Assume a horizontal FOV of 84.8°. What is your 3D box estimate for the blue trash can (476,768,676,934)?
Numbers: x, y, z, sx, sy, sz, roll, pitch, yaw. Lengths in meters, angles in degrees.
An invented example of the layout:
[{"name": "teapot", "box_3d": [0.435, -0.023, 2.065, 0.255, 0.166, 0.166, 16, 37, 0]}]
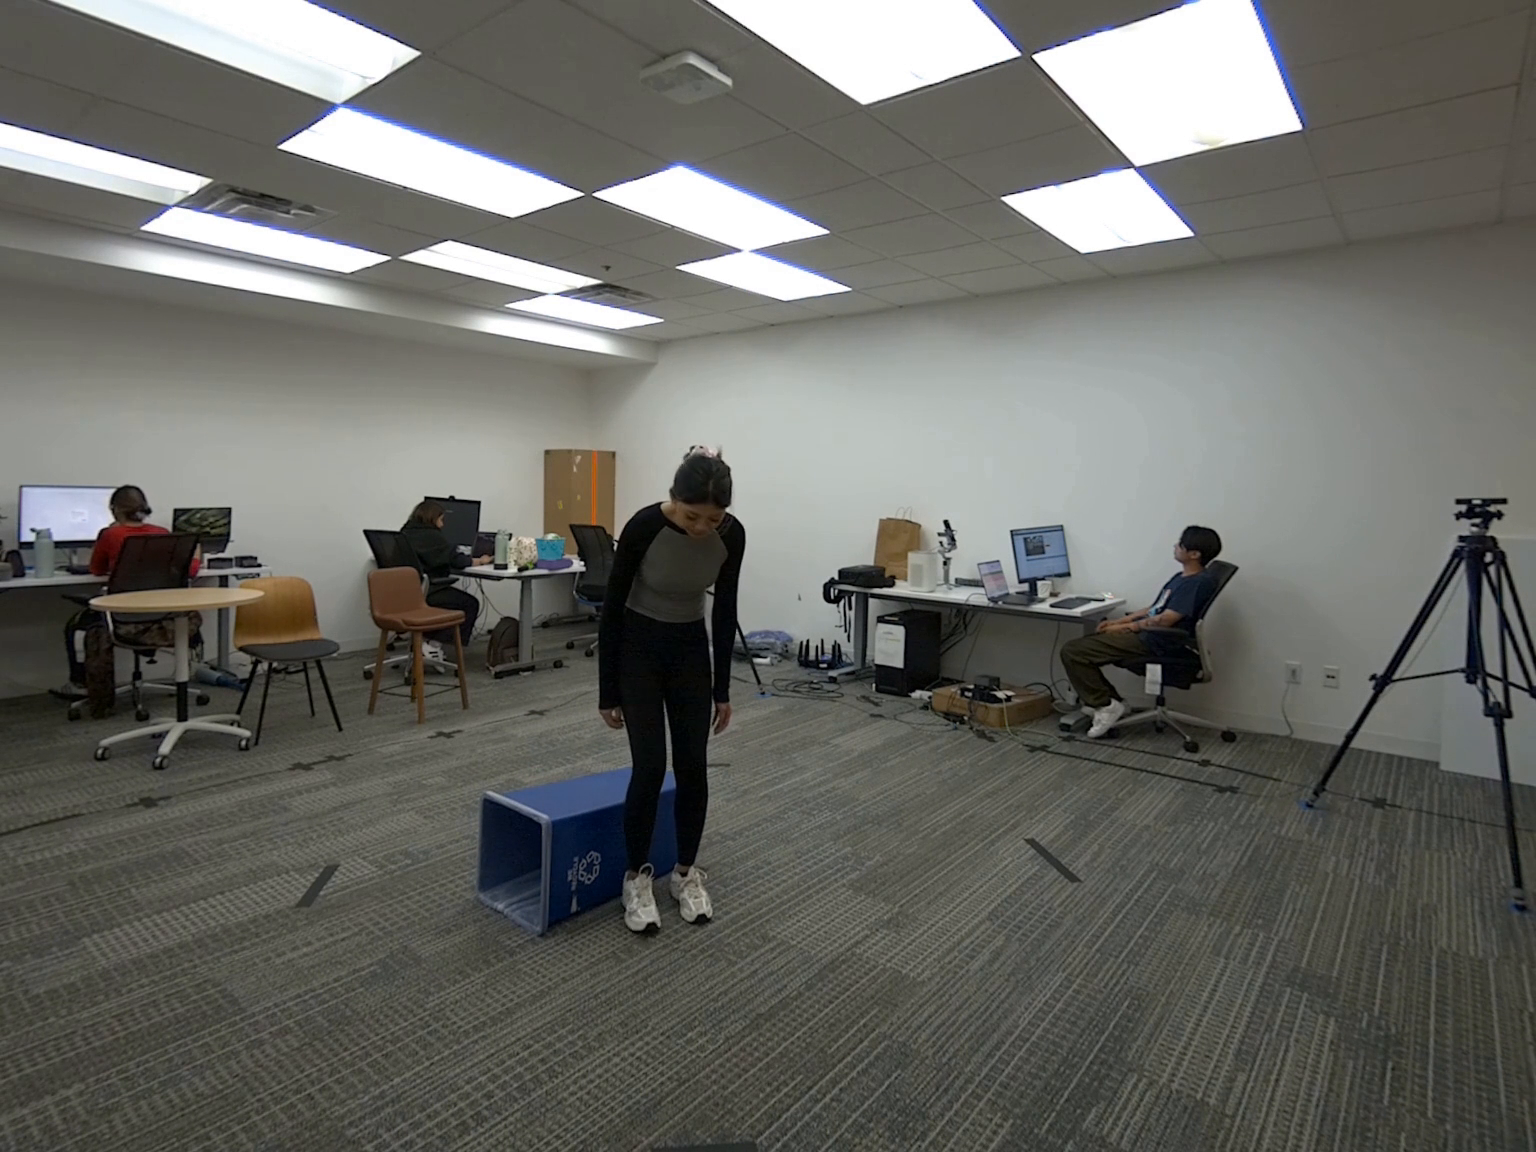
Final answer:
[{"name": "blue trash can", "box_3d": [-0.630, 0.901, 2.998, 0.390, 0.373, 0.692, 3, 3, 39]}]
